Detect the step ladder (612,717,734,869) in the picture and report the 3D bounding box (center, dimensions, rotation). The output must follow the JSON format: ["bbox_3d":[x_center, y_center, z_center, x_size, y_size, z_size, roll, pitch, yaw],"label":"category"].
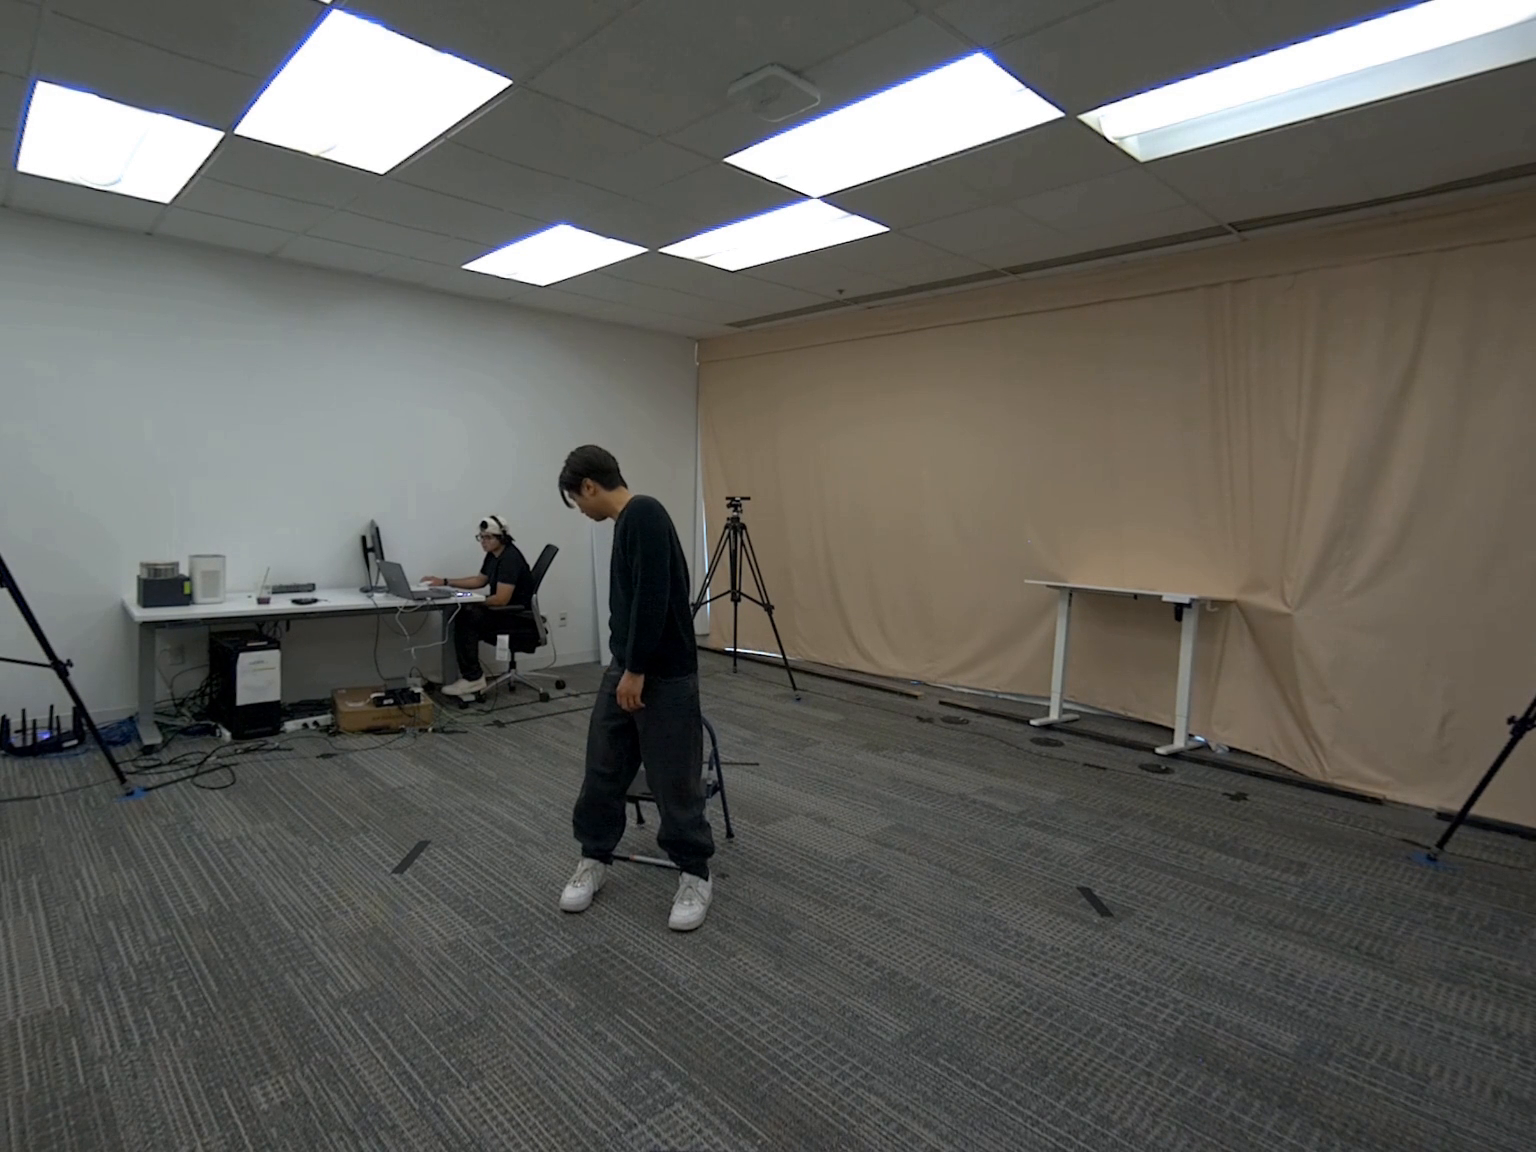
[{"bbox_3d":[-0.393,0.776,3.293,0.437,0.603,0.346,3,7,18],"label":"step ladder"}]
